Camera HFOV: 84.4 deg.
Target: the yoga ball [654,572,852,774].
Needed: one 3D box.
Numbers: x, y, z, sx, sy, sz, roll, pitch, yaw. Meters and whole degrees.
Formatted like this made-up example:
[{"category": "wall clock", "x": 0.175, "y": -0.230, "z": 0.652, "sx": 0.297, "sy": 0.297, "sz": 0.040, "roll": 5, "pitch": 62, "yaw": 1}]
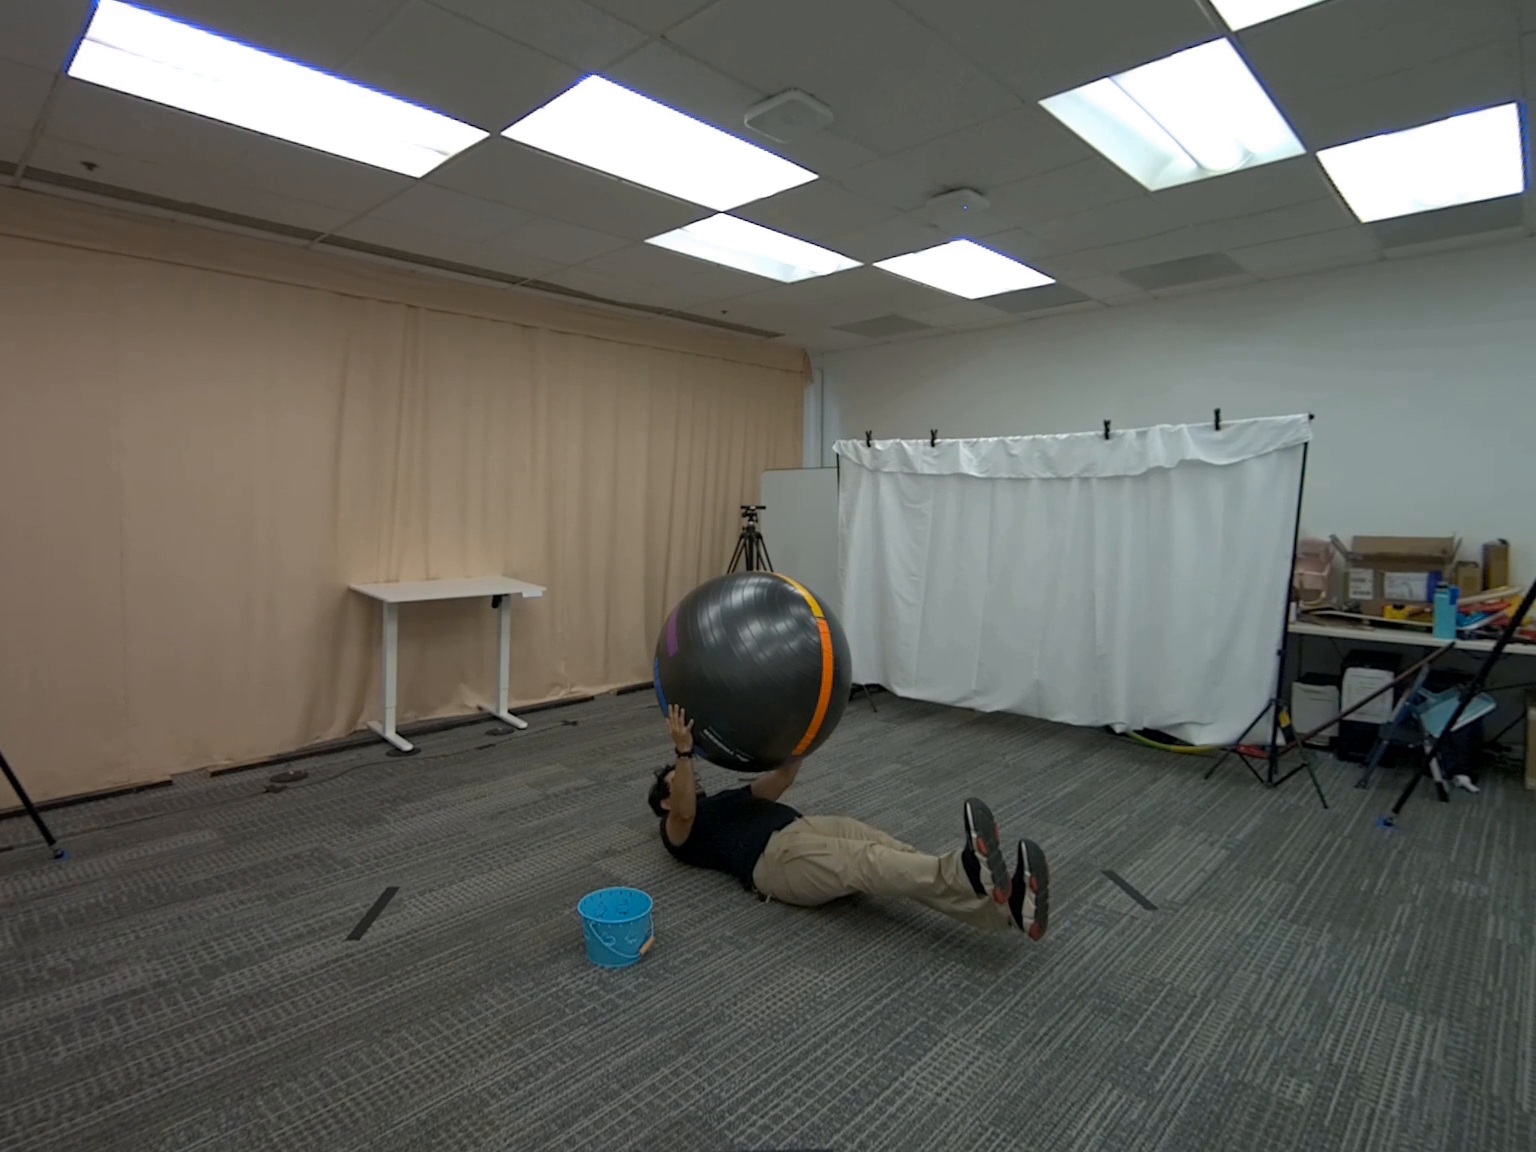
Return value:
[{"category": "yoga ball", "x": -0.055, "y": 0.366, "z": 3.224, "sx": 0.757, "sy": 0.756, "sz": 0.761, "roll": 0, "pitch": 4, "yaw": -2}]
